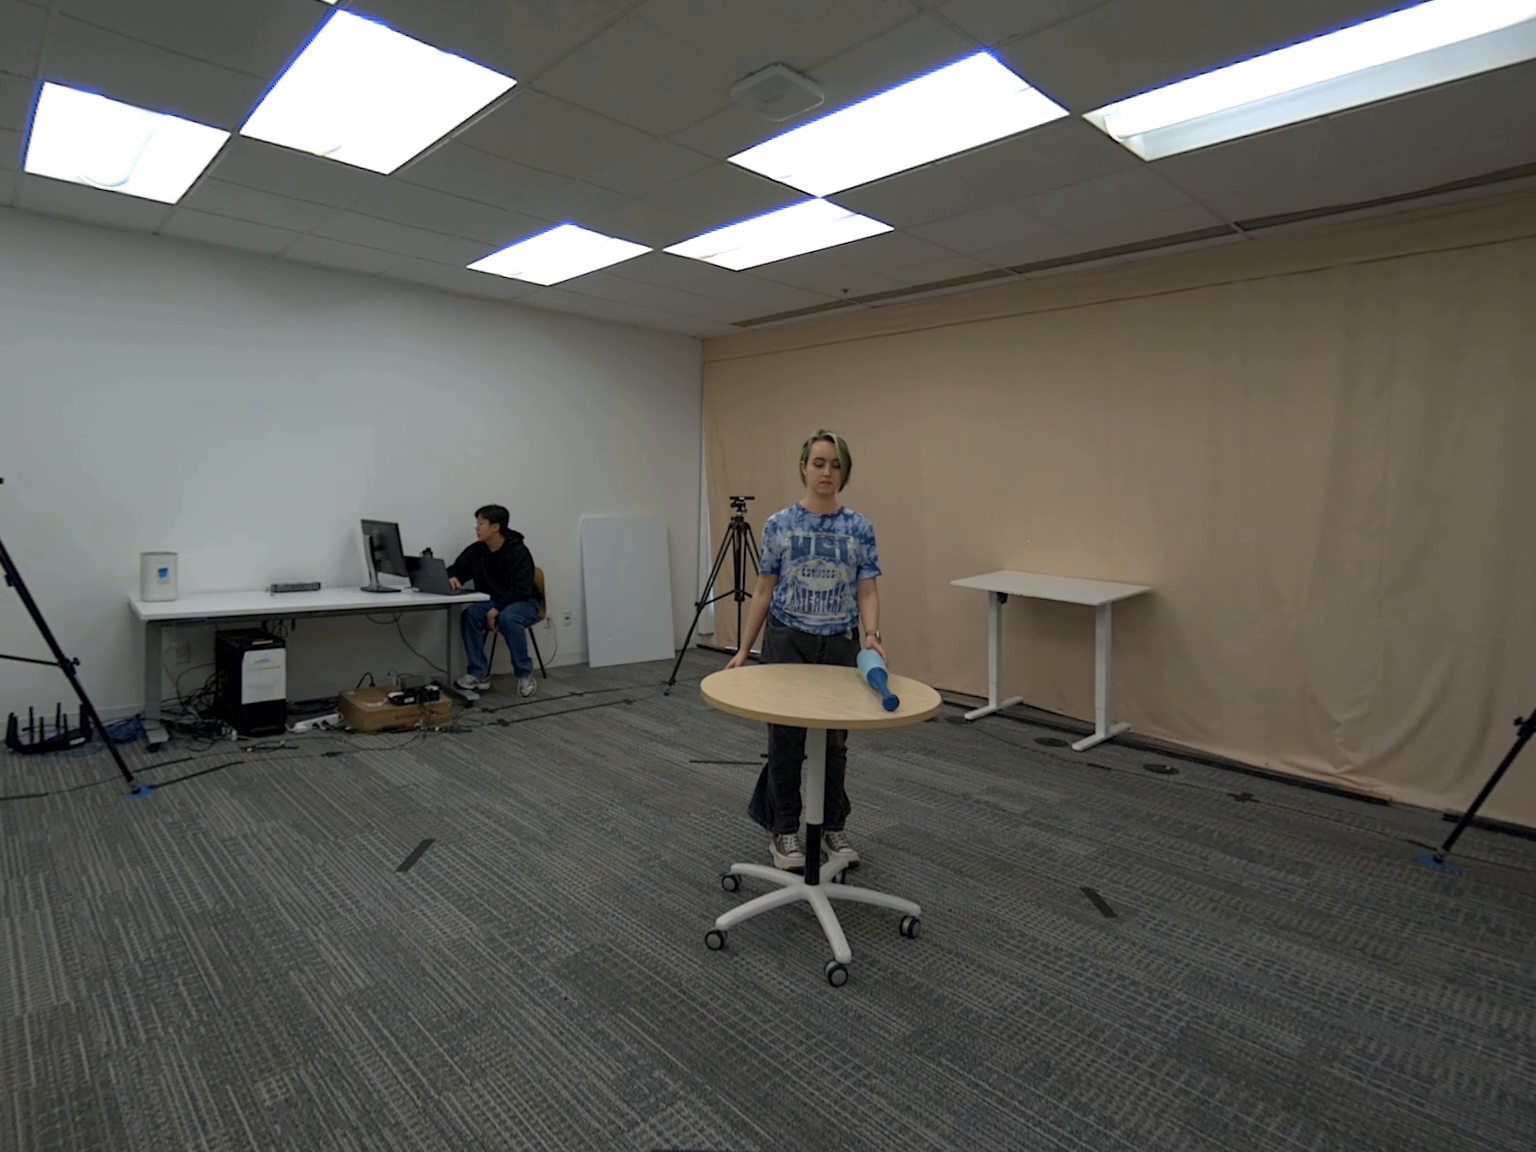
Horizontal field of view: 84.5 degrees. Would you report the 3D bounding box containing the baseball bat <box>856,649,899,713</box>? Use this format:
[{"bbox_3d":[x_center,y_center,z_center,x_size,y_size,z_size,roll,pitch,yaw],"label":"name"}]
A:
[{"bbox_3d":[0.344,0.333,2.695,0.089,0.088,0.546,1,7,-2],"label":"baseball bat"}]
